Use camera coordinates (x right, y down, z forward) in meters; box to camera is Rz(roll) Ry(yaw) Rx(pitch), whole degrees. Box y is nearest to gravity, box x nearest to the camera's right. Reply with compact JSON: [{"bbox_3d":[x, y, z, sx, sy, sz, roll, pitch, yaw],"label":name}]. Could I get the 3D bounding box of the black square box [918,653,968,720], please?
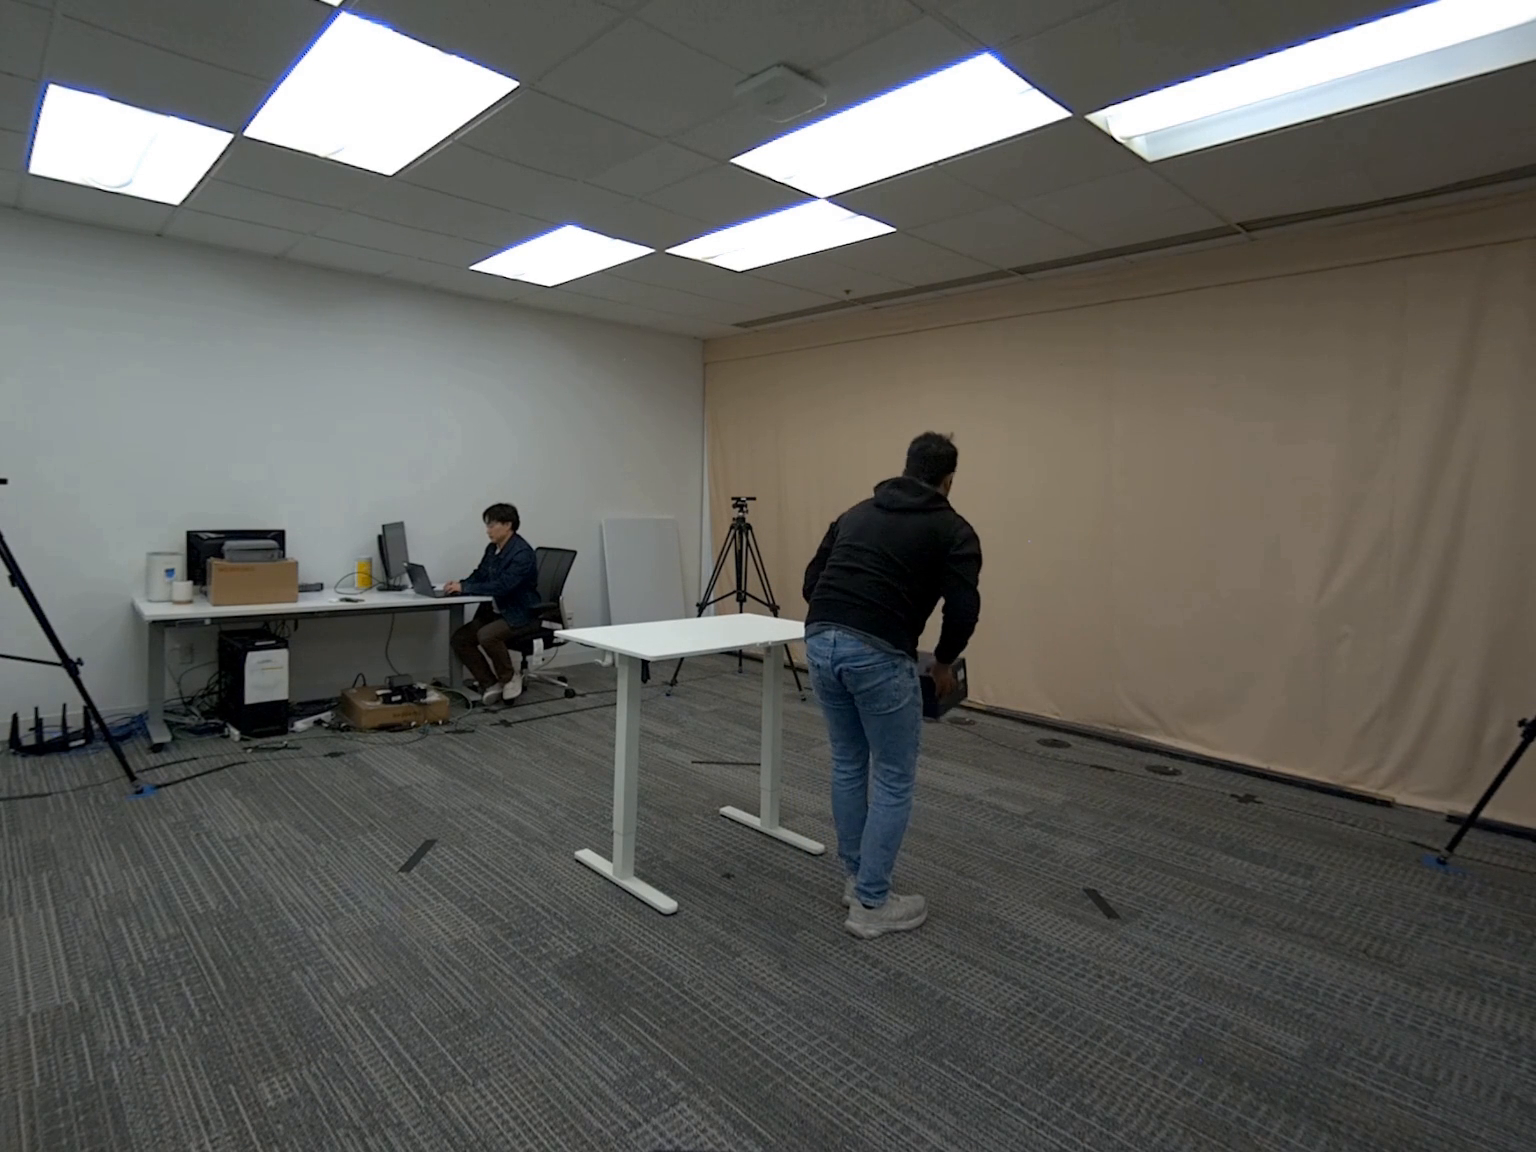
[{"bbox_3d":[0.555,0.401,3.044,0.233,0.154,0.213,4,16,42],"label":"black square box"}]
